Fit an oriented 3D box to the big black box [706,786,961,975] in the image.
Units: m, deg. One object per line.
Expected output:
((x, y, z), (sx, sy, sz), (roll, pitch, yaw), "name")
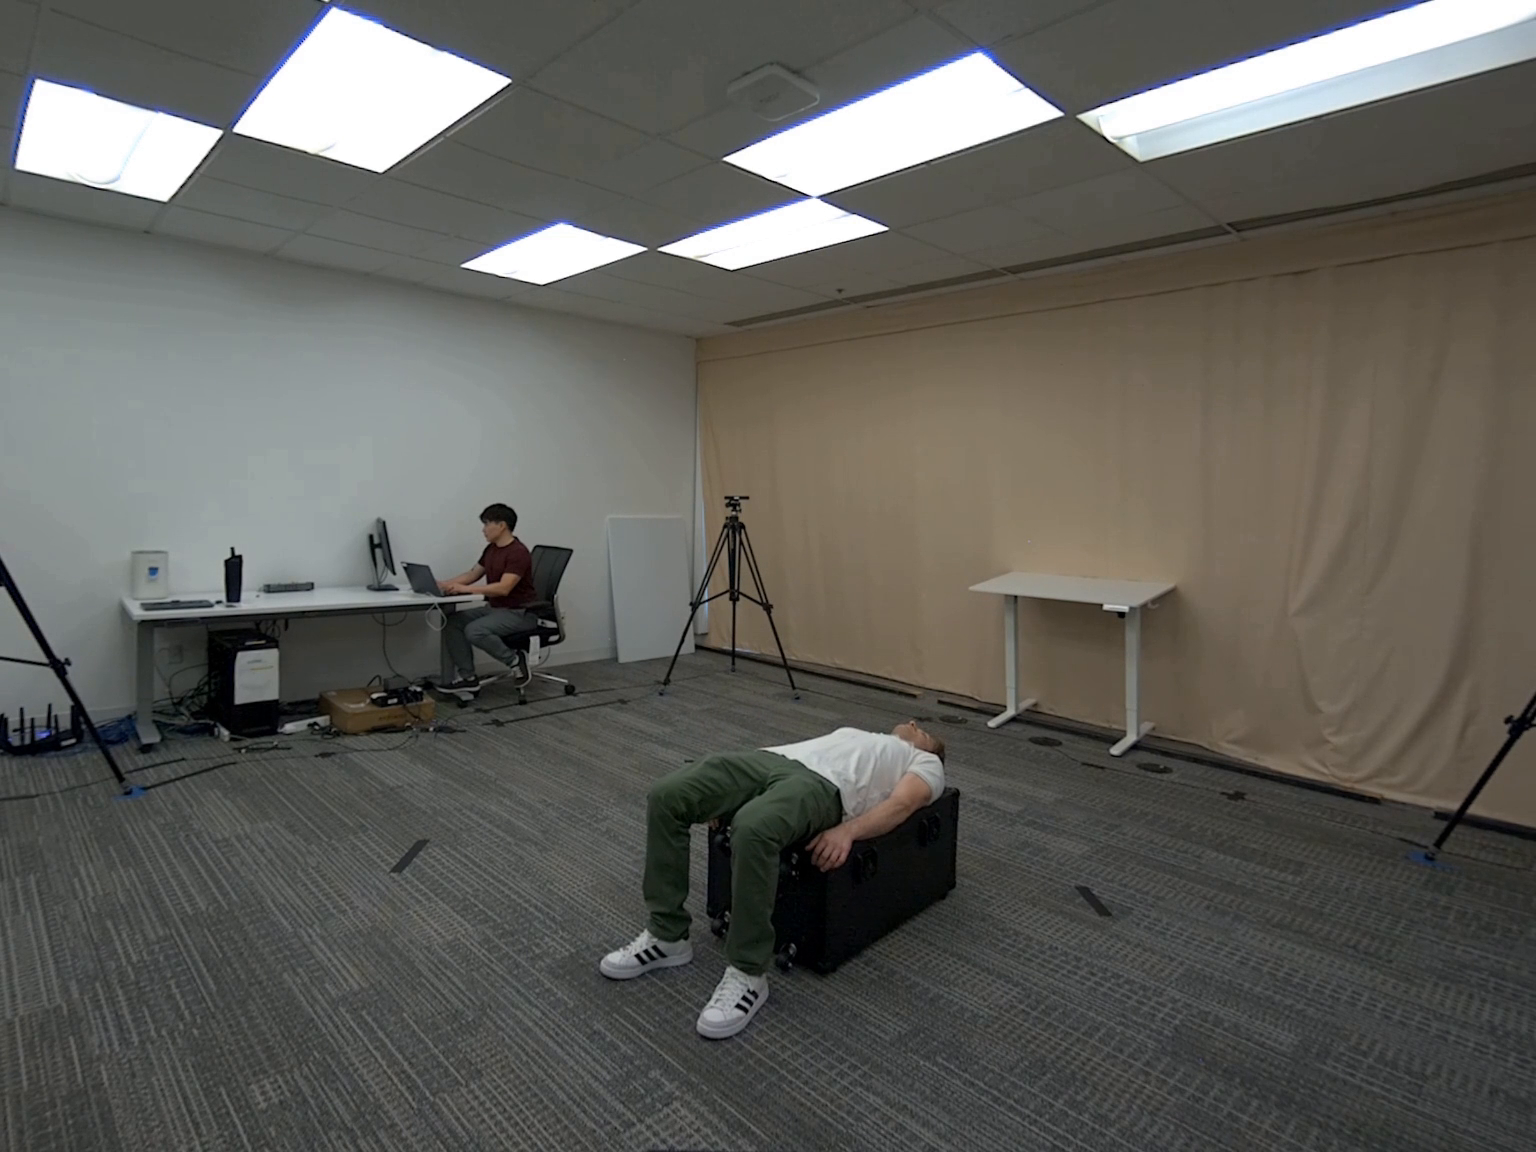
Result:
((0.203, 0.948, 2.843), (0.537, 0.384, 0.849), (7, 8, 42), "big black box")
